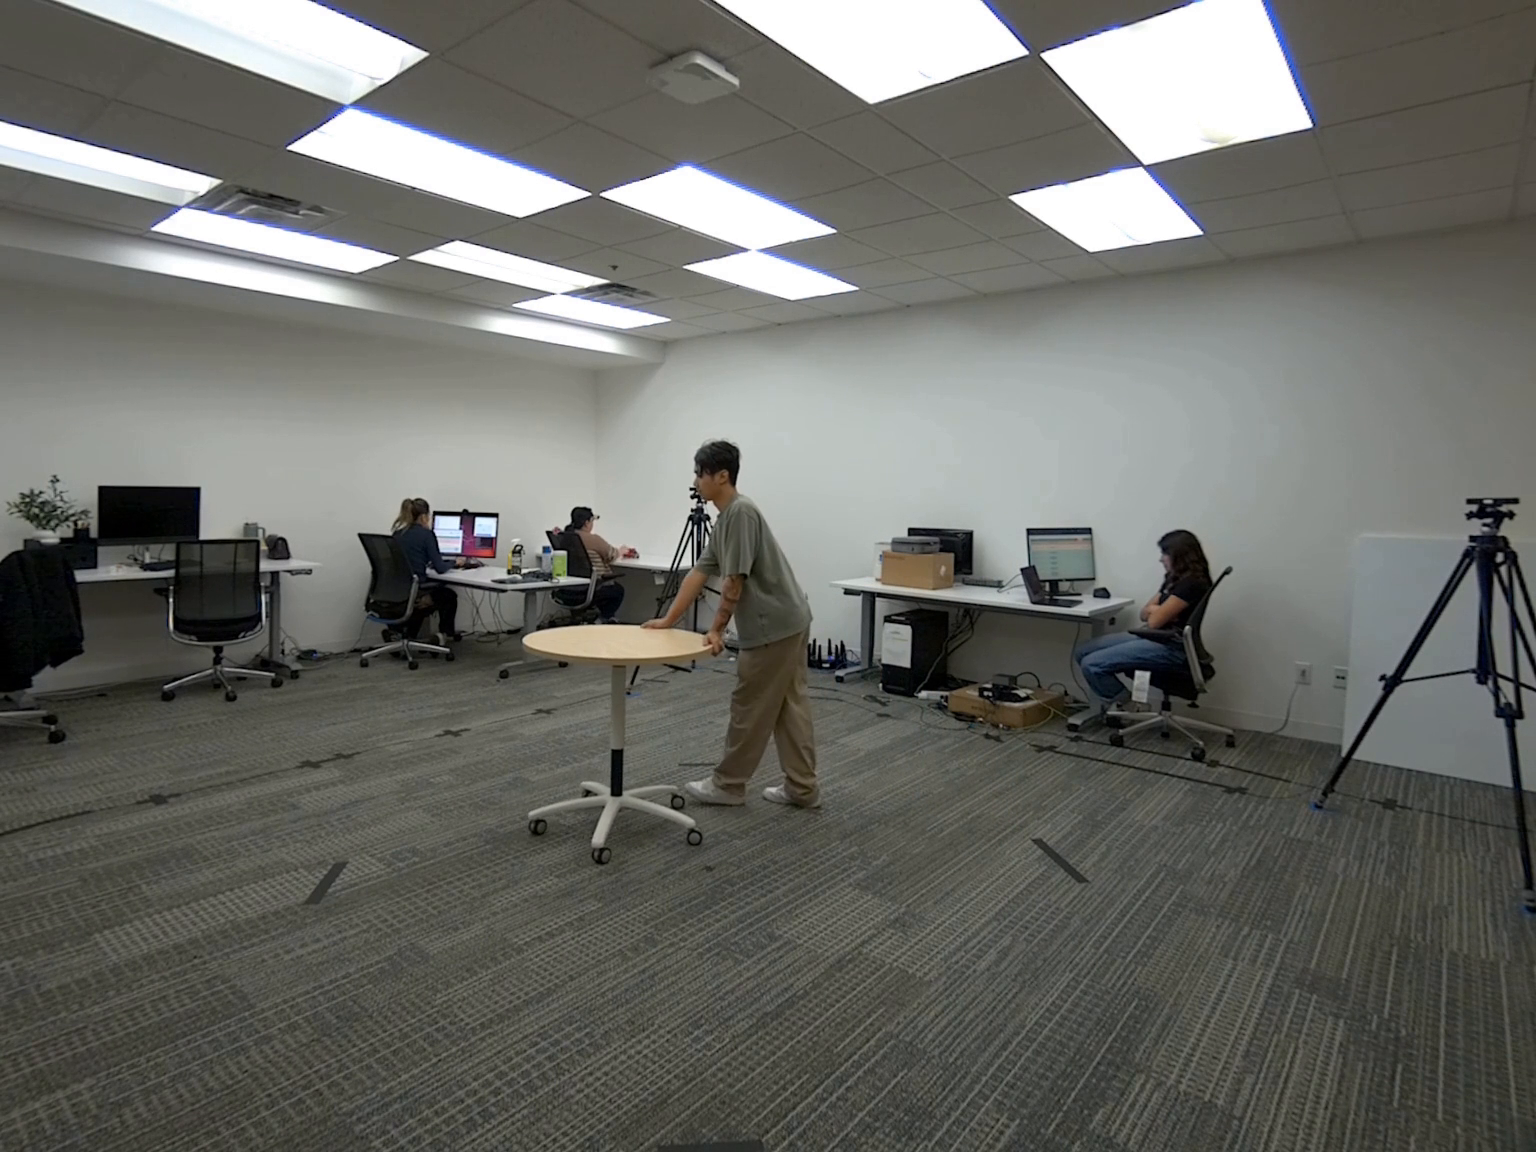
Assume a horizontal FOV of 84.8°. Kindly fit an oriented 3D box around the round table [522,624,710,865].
[{"bbox_3d":[-0.630,0.637,3.438,0.784,0.784,0.789,2,4,-2],"label":"round table"}]
